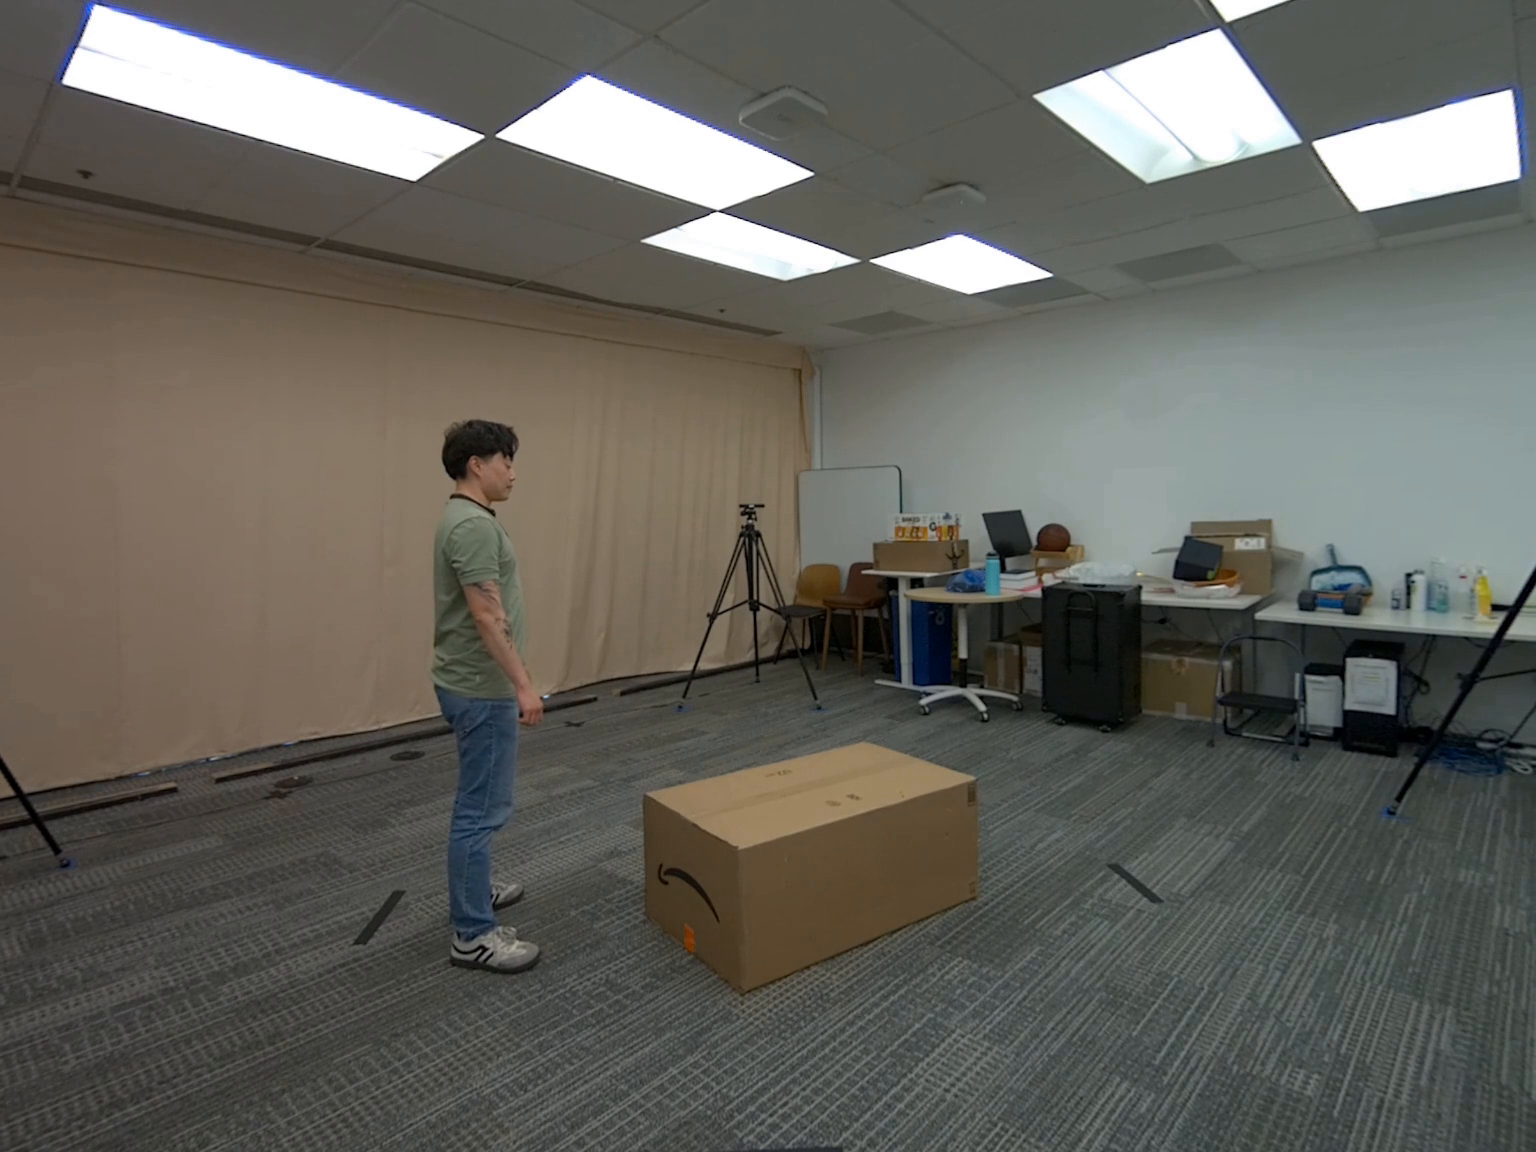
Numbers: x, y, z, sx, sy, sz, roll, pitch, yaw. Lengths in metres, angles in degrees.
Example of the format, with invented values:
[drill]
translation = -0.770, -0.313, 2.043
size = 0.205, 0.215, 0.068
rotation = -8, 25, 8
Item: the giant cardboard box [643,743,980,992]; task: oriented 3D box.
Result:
[giant cardboard box]
translation = 0.161, 0.932, 2.897
size = 0.996, 0.425, 0.596
rotation = -4, 5, -35
